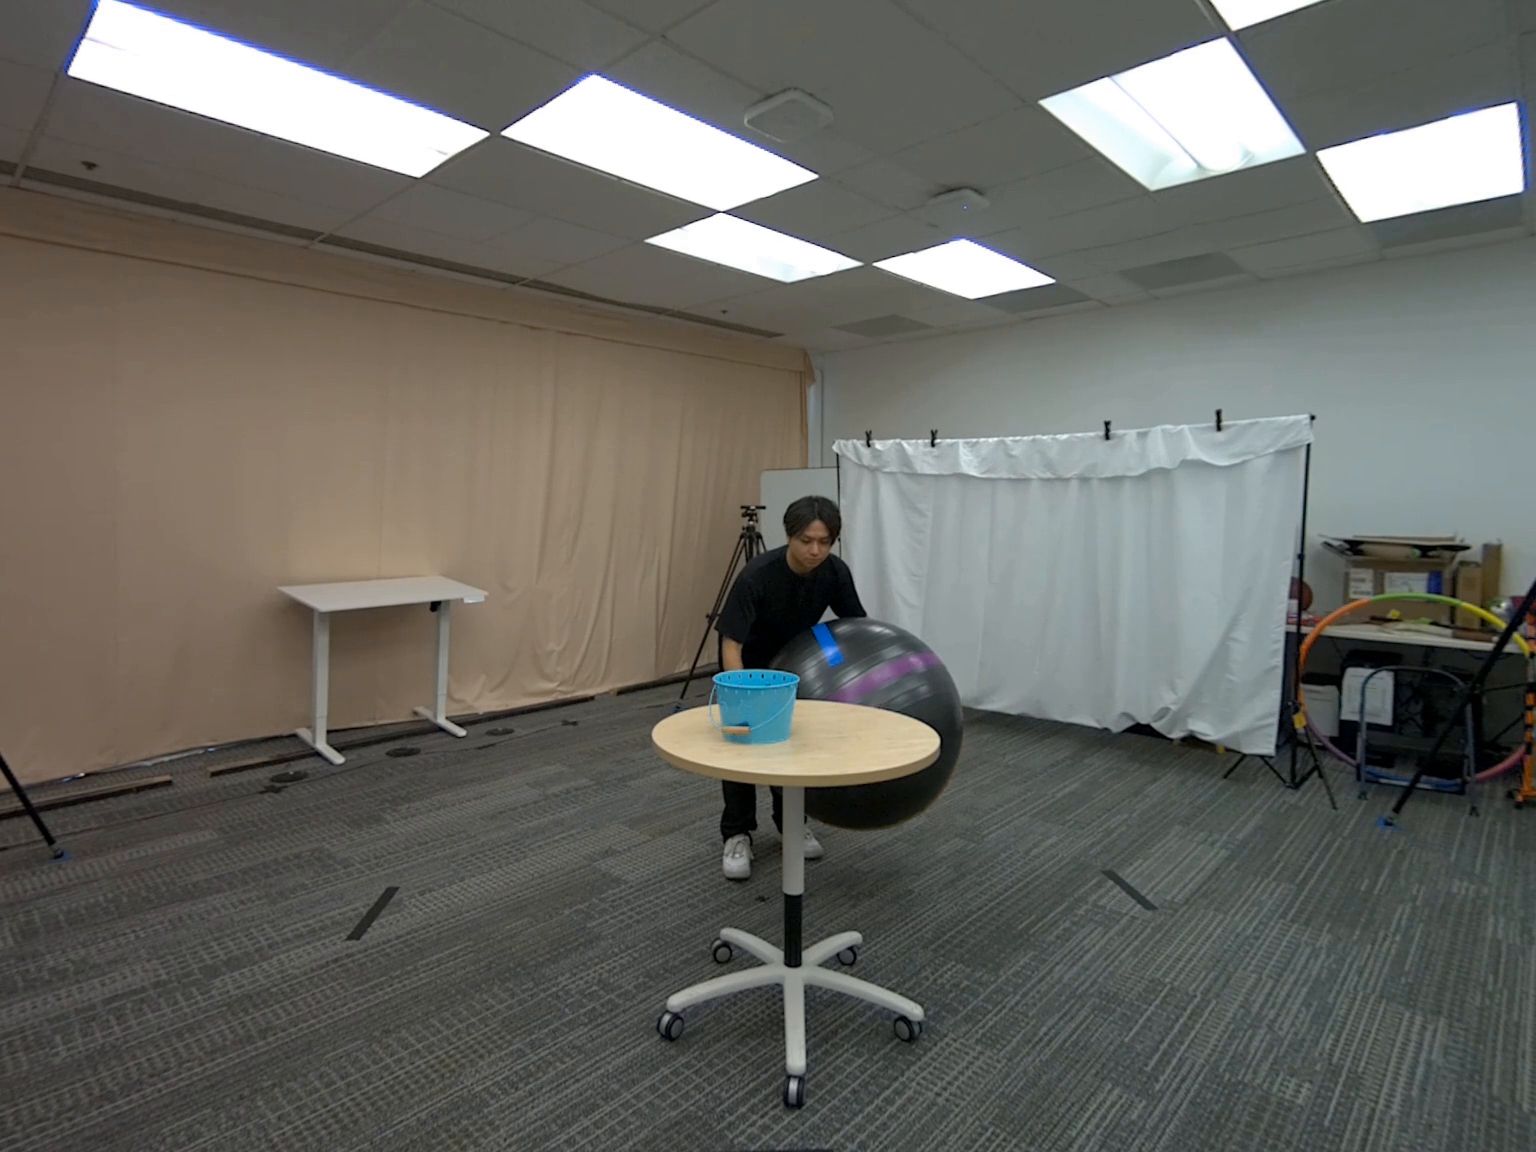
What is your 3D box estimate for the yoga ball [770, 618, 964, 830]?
[{"bbox_3d":[0.334,0.545,3.100,0.757,0.756,0.760,0,4,-2],"label":"yoga ball"}]
